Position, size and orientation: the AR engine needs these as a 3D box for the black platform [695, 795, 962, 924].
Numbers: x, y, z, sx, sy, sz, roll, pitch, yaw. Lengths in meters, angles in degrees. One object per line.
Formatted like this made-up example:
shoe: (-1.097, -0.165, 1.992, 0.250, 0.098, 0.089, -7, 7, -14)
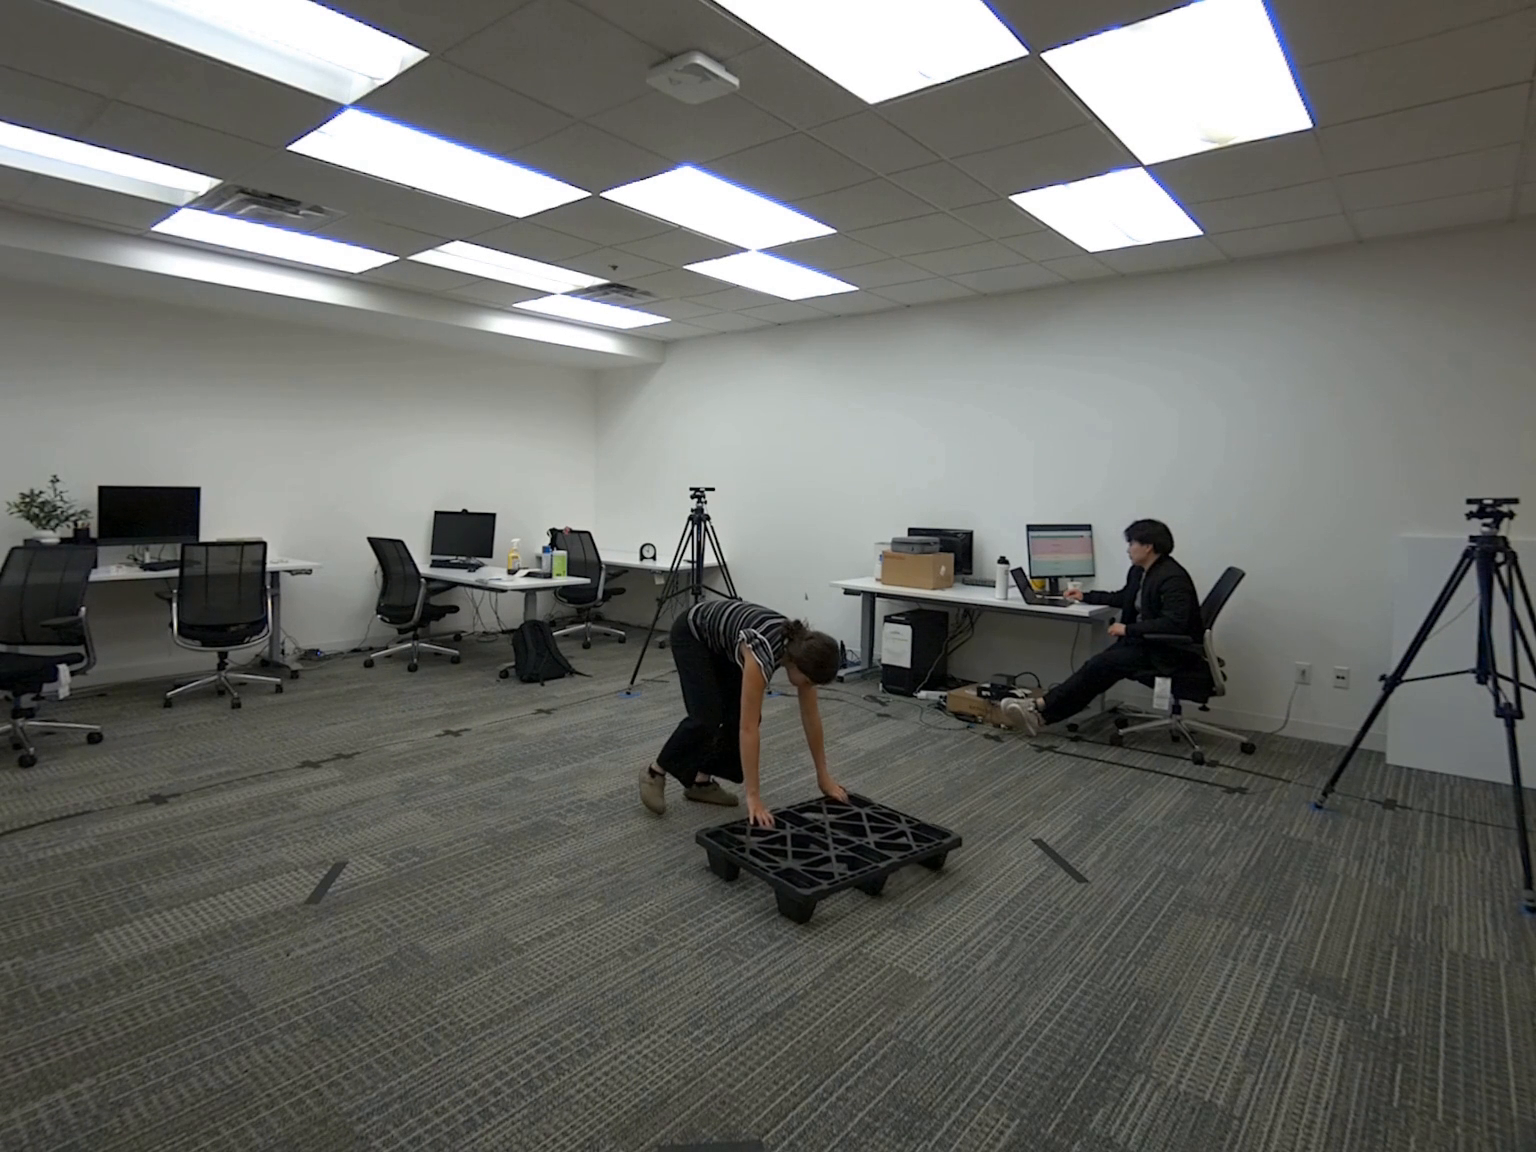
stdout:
black platform: (0.215, 1.006, 3.117, 0.782, 0.143, 0.626, -4, 8, -39)
